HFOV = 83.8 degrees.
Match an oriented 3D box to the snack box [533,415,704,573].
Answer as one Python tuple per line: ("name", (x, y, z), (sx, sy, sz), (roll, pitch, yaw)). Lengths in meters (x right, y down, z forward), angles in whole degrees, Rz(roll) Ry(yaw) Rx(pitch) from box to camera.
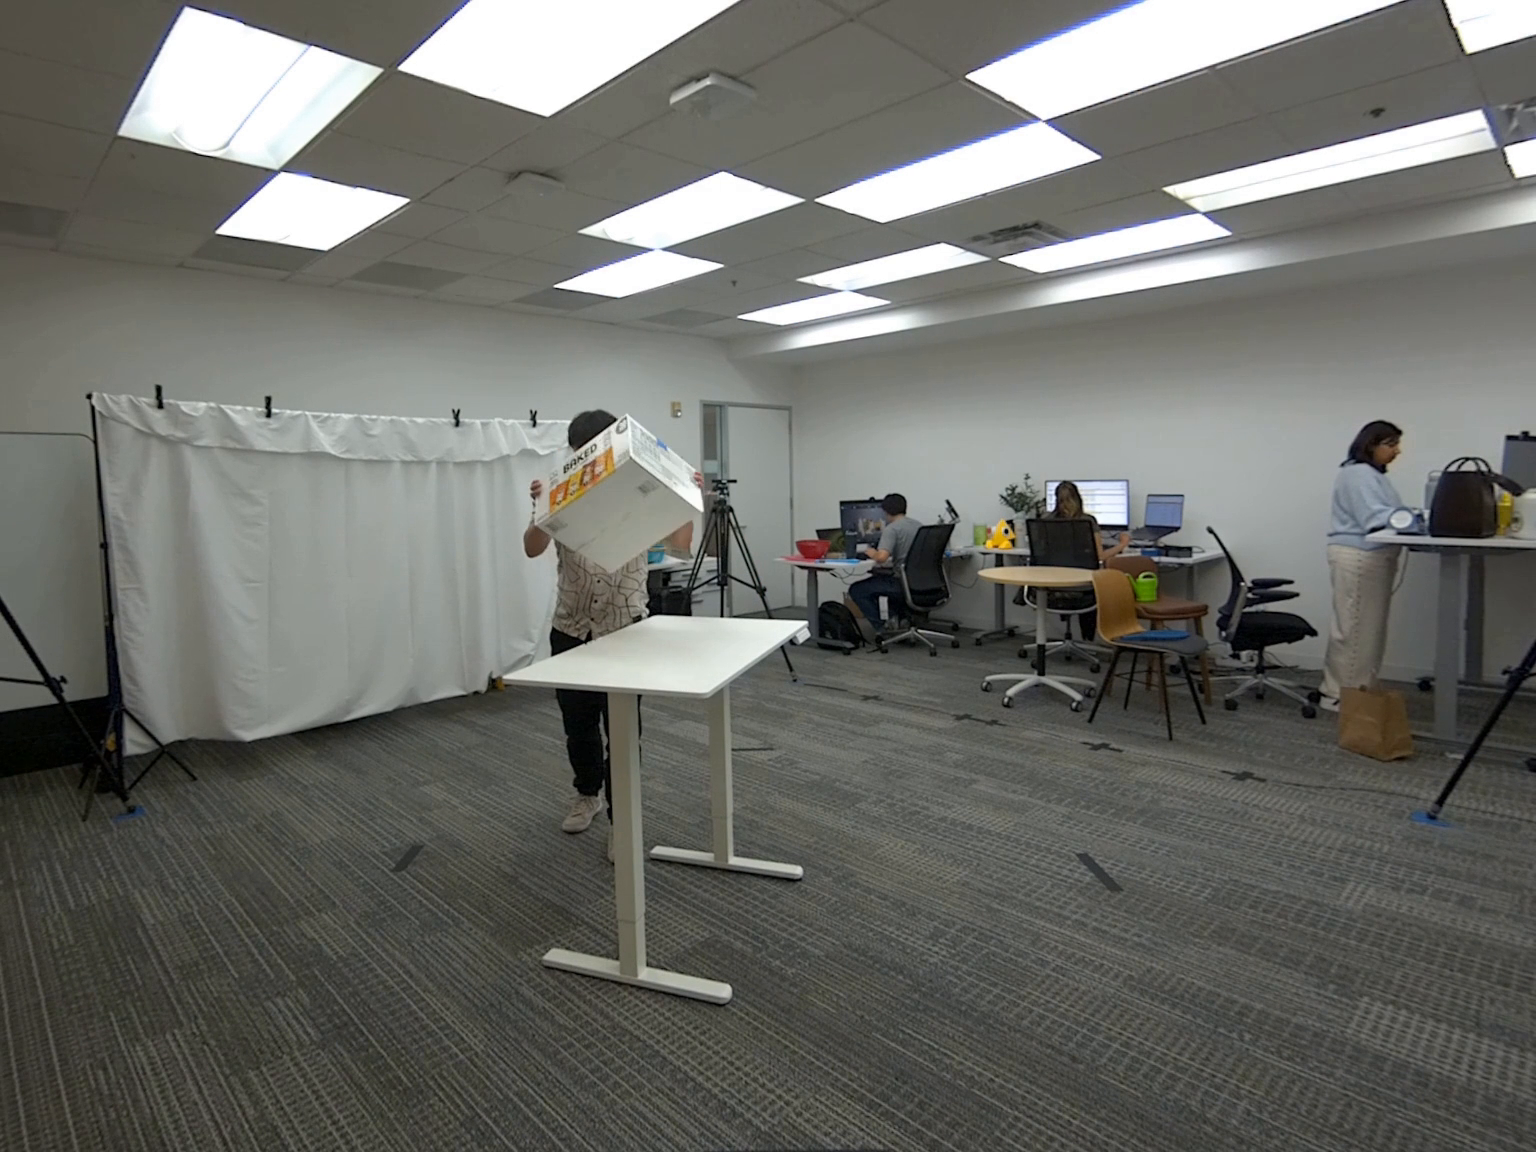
("snack box", (-0.477, -0.249, 2.738), (0.408, 0.212, 0.327), (-32, -44, 22))
